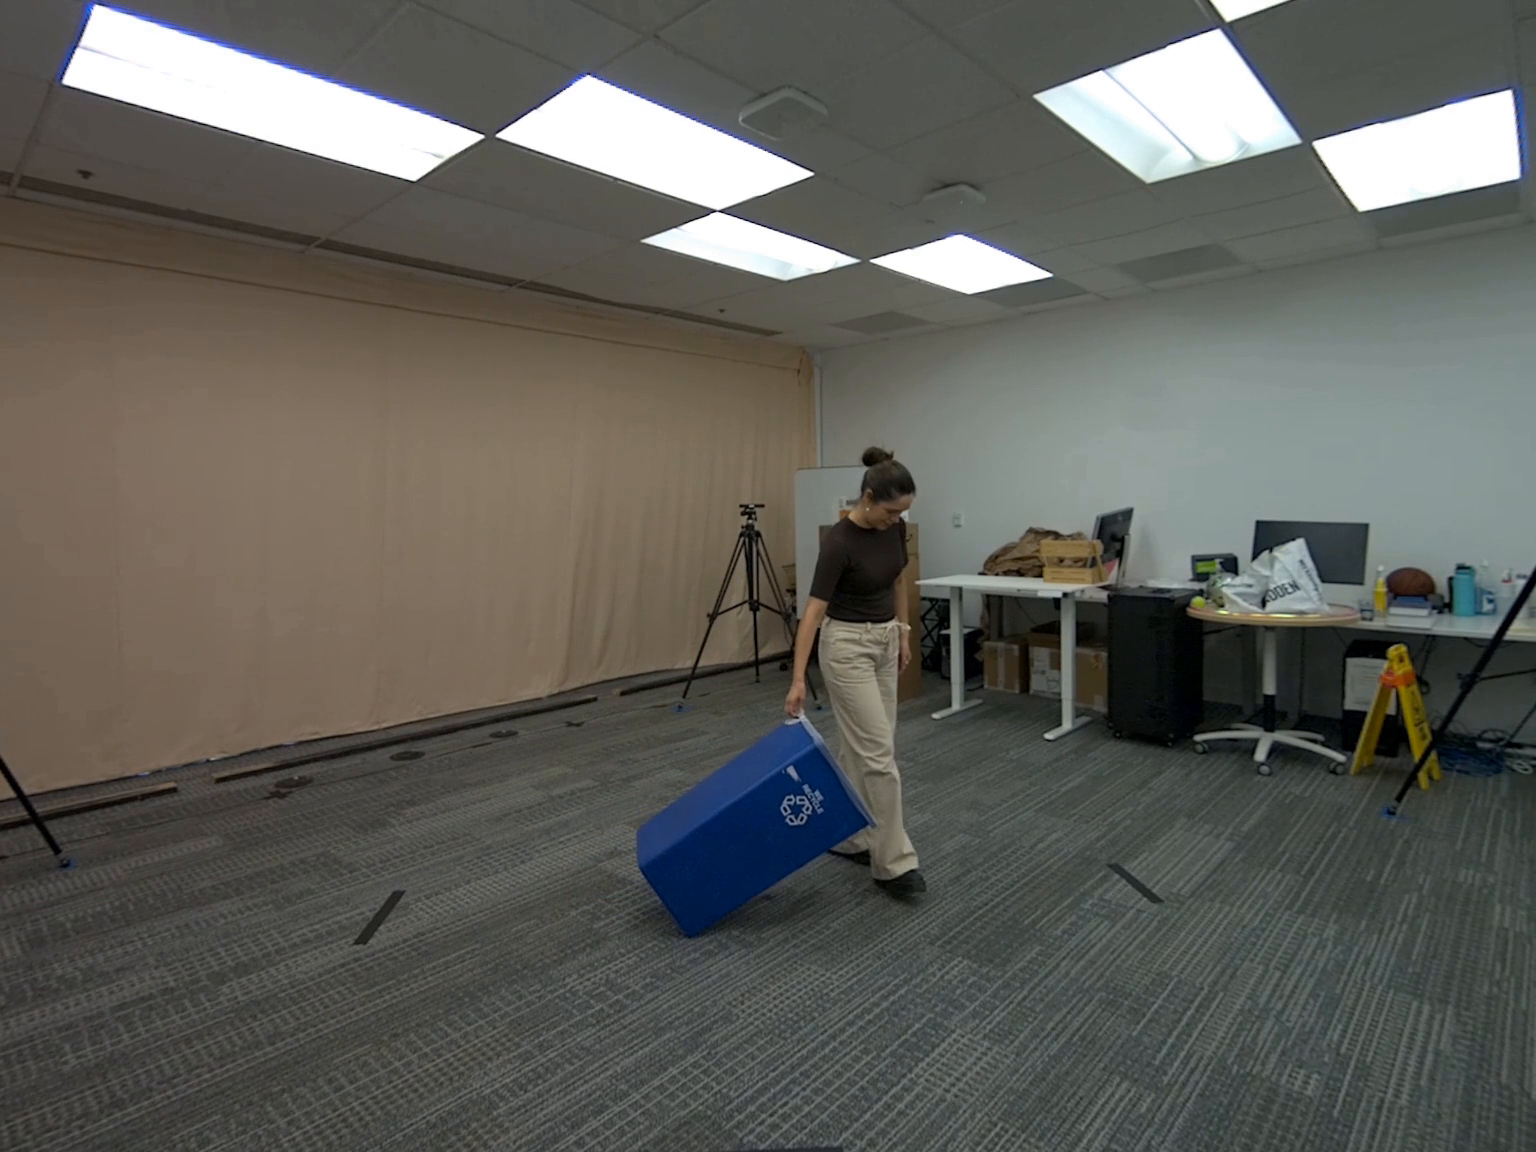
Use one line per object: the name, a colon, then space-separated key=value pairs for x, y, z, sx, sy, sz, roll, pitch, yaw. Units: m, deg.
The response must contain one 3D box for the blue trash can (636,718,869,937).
blue trash can: x=-0.054 y=0.837 z=2.850 sx=0.712 sy=0.370 sz=0.383 roll=-35 pitch=10 yaw=-3
